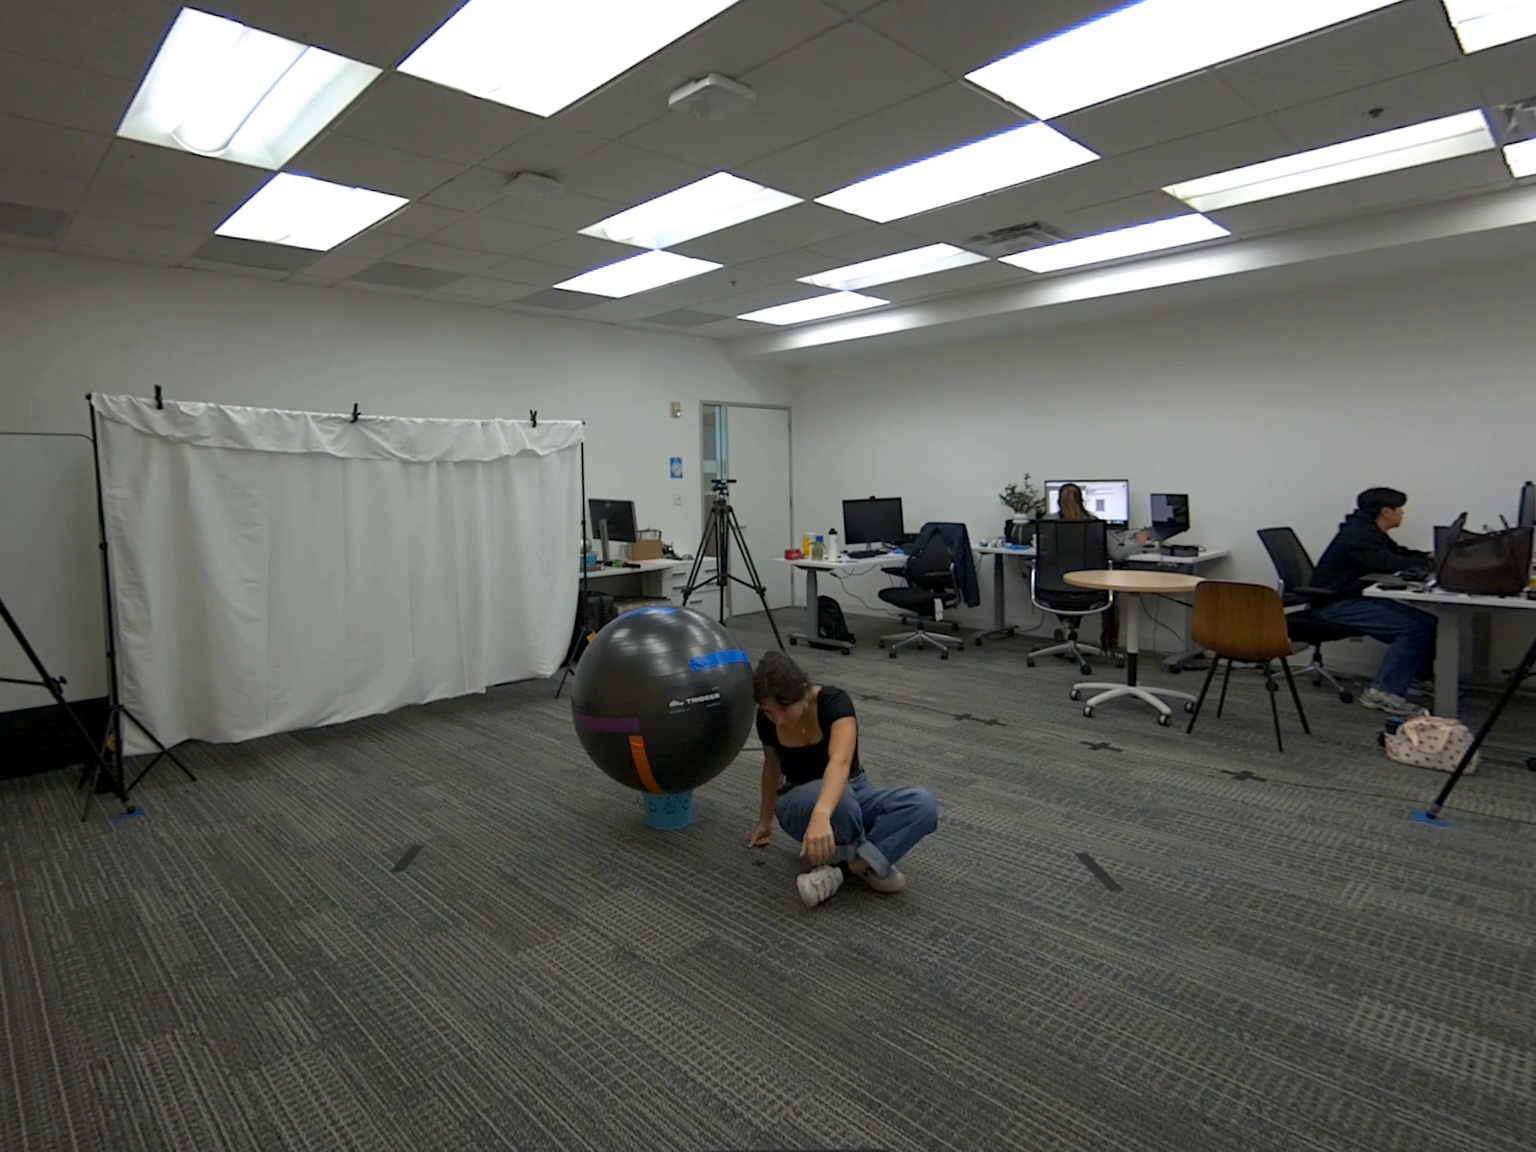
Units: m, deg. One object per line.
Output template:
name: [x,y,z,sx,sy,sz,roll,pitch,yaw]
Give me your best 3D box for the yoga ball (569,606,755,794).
yoga ball: [-0.428,0.500,3.493,0.757,0.755,0.762,-1,5,-2]
